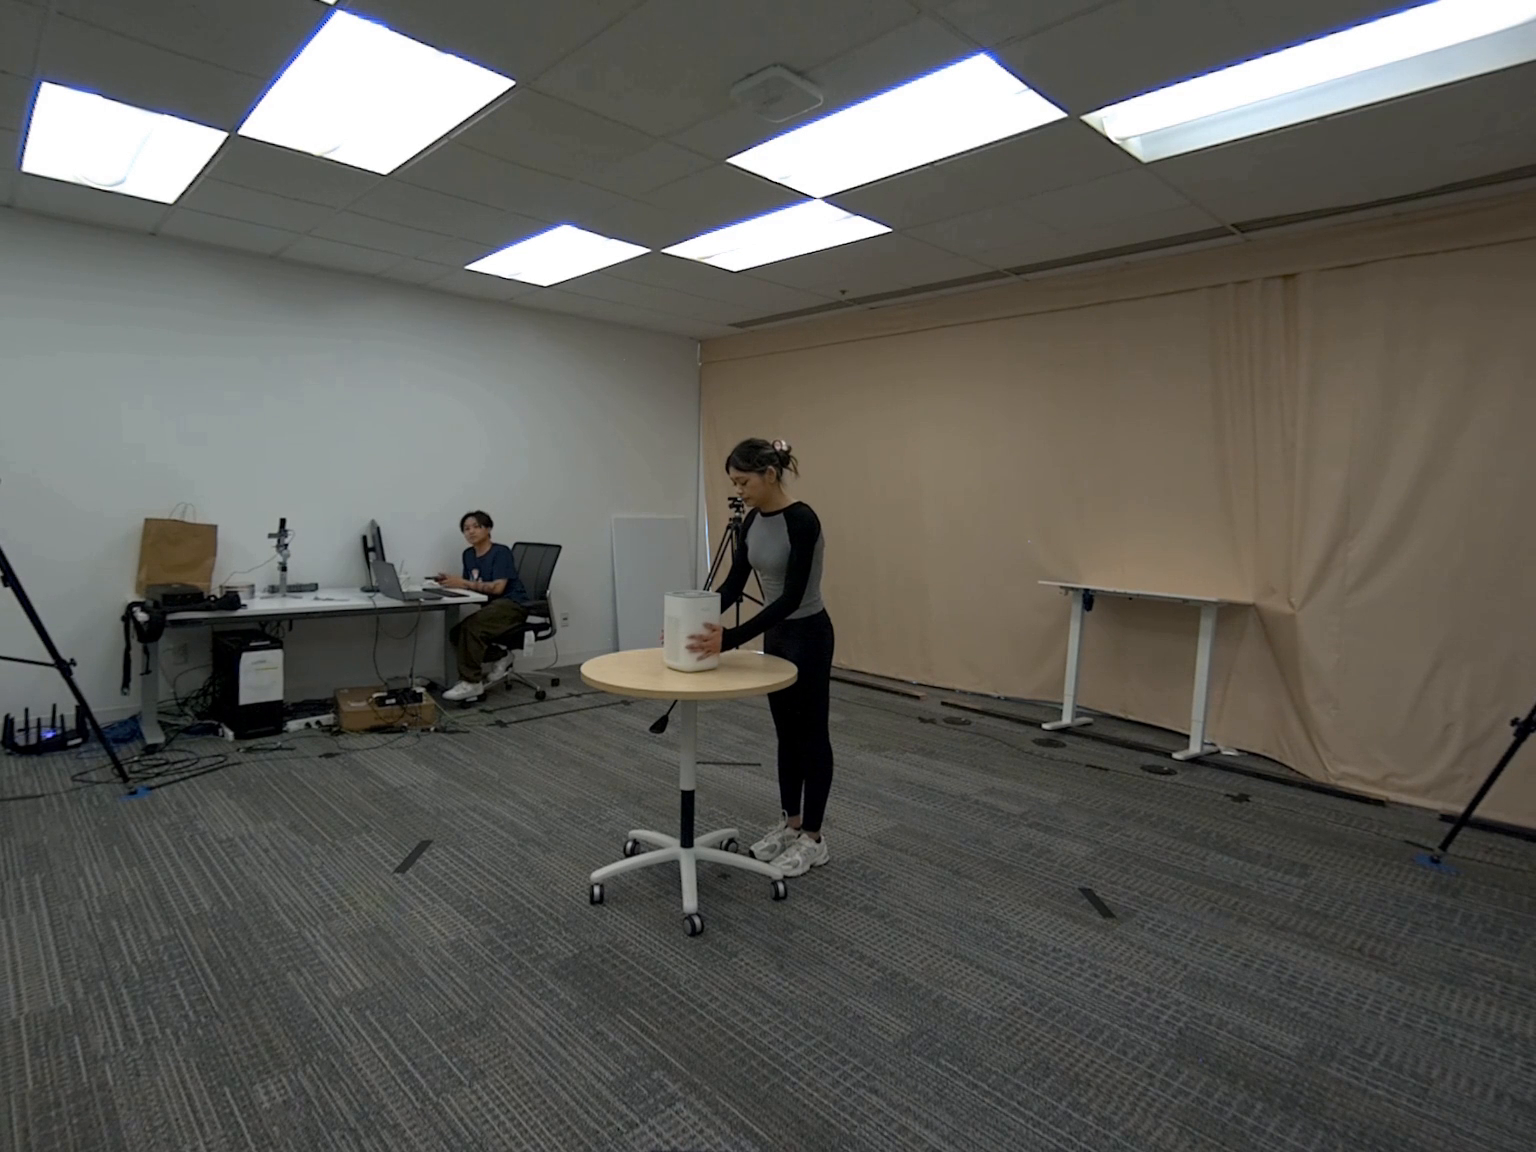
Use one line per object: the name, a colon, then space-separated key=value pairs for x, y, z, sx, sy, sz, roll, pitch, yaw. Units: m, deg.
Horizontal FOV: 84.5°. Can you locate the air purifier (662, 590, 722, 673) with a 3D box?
air purifier: x=-0.275 y=0.194 z=2.959 sx=0.167 sy=0.265 sz=0.176 roll=-3 pitch=5 yaw=-42
